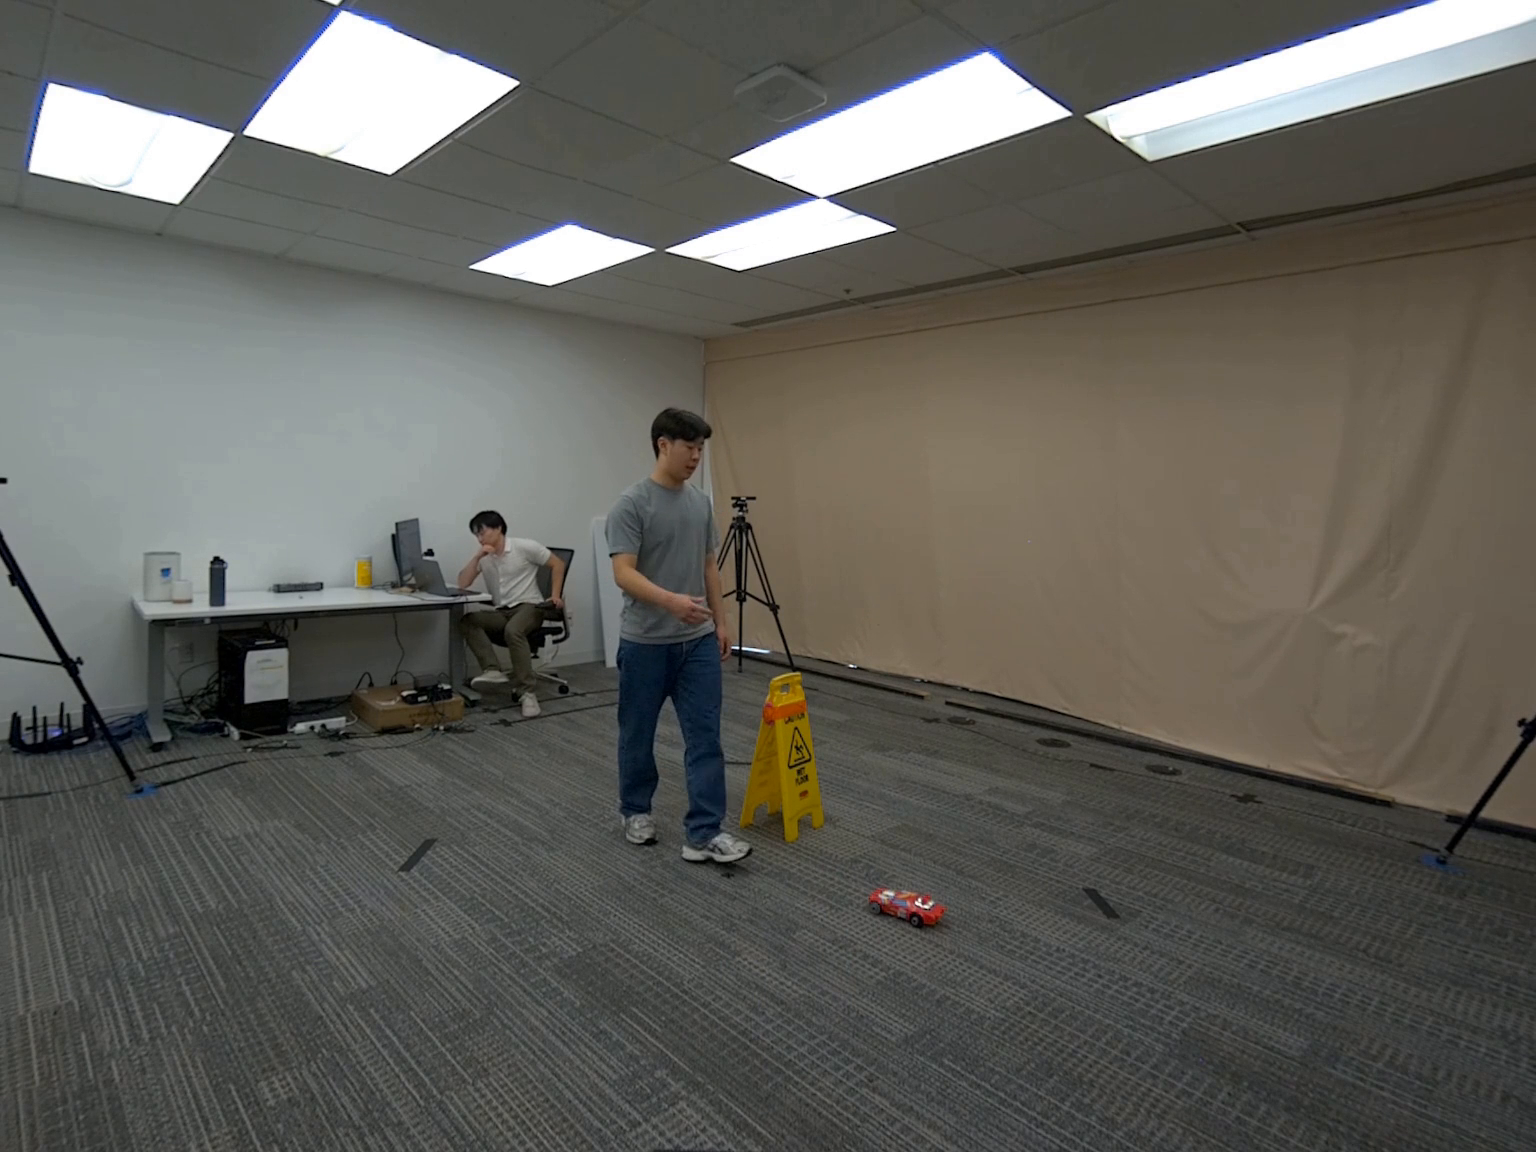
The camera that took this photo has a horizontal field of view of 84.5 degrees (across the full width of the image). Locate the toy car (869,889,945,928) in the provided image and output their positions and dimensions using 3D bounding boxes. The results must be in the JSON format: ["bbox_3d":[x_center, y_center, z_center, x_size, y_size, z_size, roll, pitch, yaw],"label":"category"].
[{"bbox_3d":[0.468,1.116,2.824,0.259,0.083,0.127,-7,-2,34],"label":"toy car"}]
